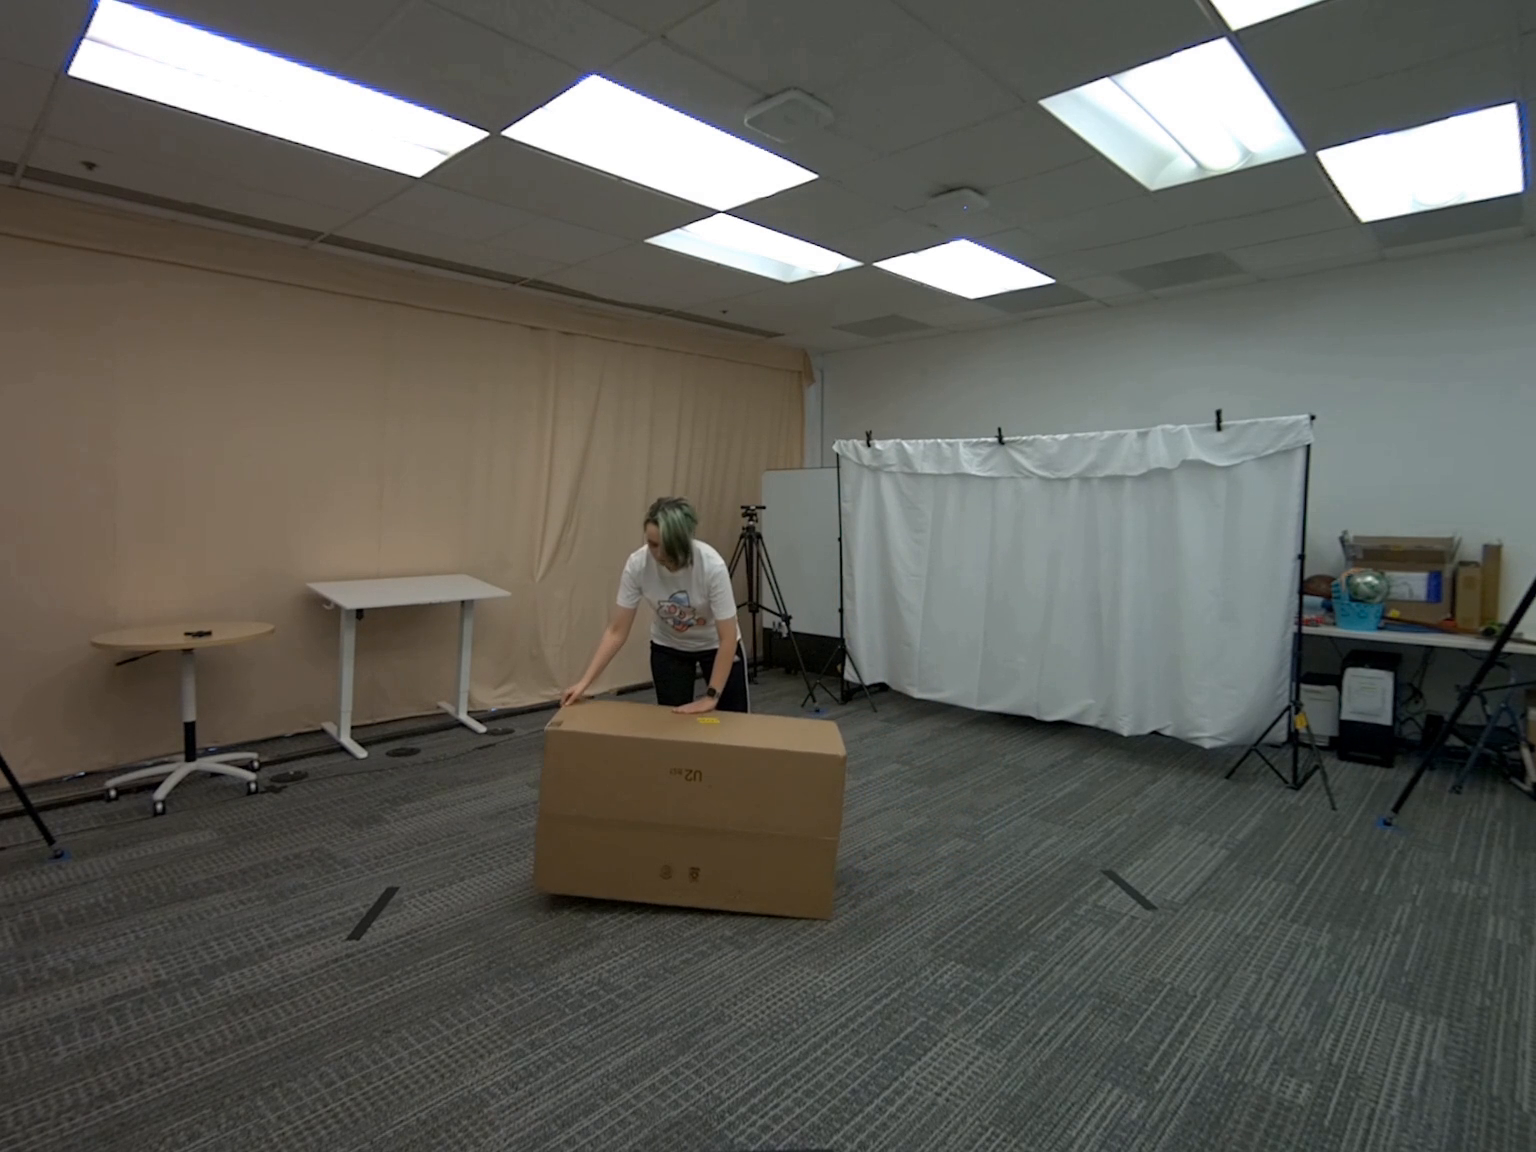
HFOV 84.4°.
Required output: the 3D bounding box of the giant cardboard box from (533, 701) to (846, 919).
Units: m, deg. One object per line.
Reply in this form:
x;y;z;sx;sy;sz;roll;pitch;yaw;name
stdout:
-0.268;0.811;3.030;1.028;0.576;0.426;5;4;1;giant cardboard box
